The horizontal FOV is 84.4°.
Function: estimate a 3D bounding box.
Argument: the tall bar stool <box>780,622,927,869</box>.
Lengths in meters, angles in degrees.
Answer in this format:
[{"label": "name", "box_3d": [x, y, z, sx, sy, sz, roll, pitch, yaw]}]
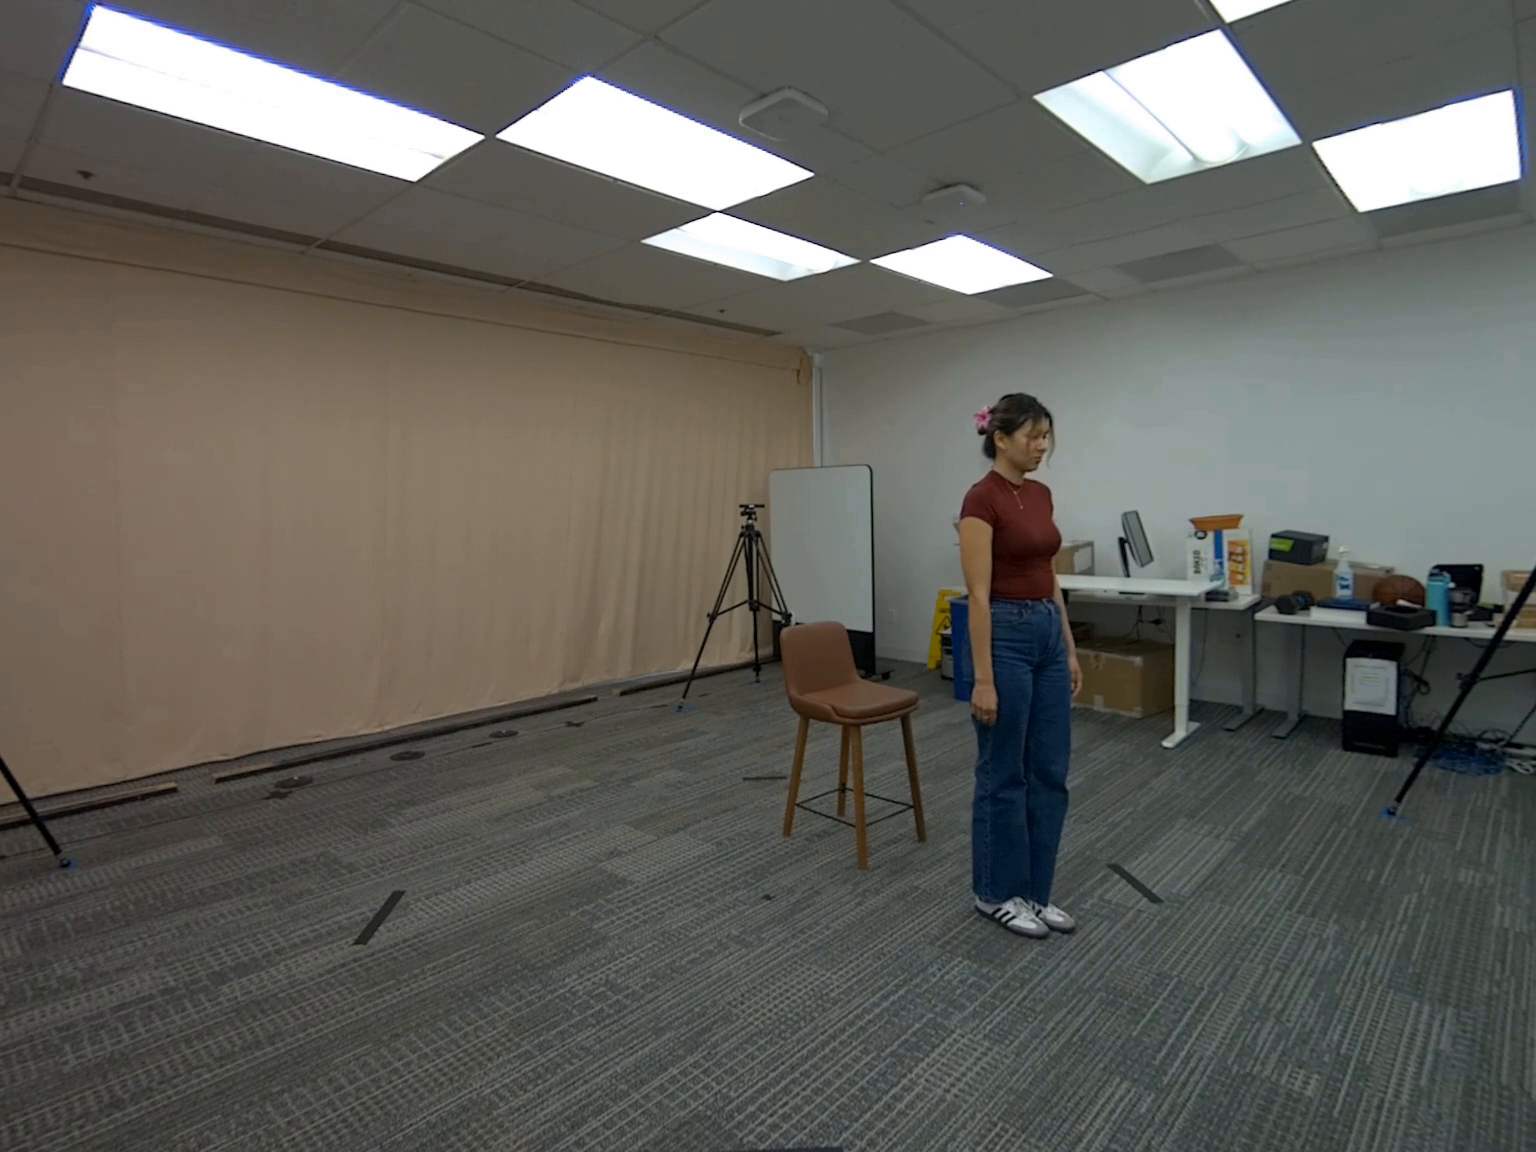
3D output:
[{"label": "tall bar stool", "box_3d": [0.345, 0.656, 3.476, 0.442, 0.889, 0.483, -3, 2, -43]}]
